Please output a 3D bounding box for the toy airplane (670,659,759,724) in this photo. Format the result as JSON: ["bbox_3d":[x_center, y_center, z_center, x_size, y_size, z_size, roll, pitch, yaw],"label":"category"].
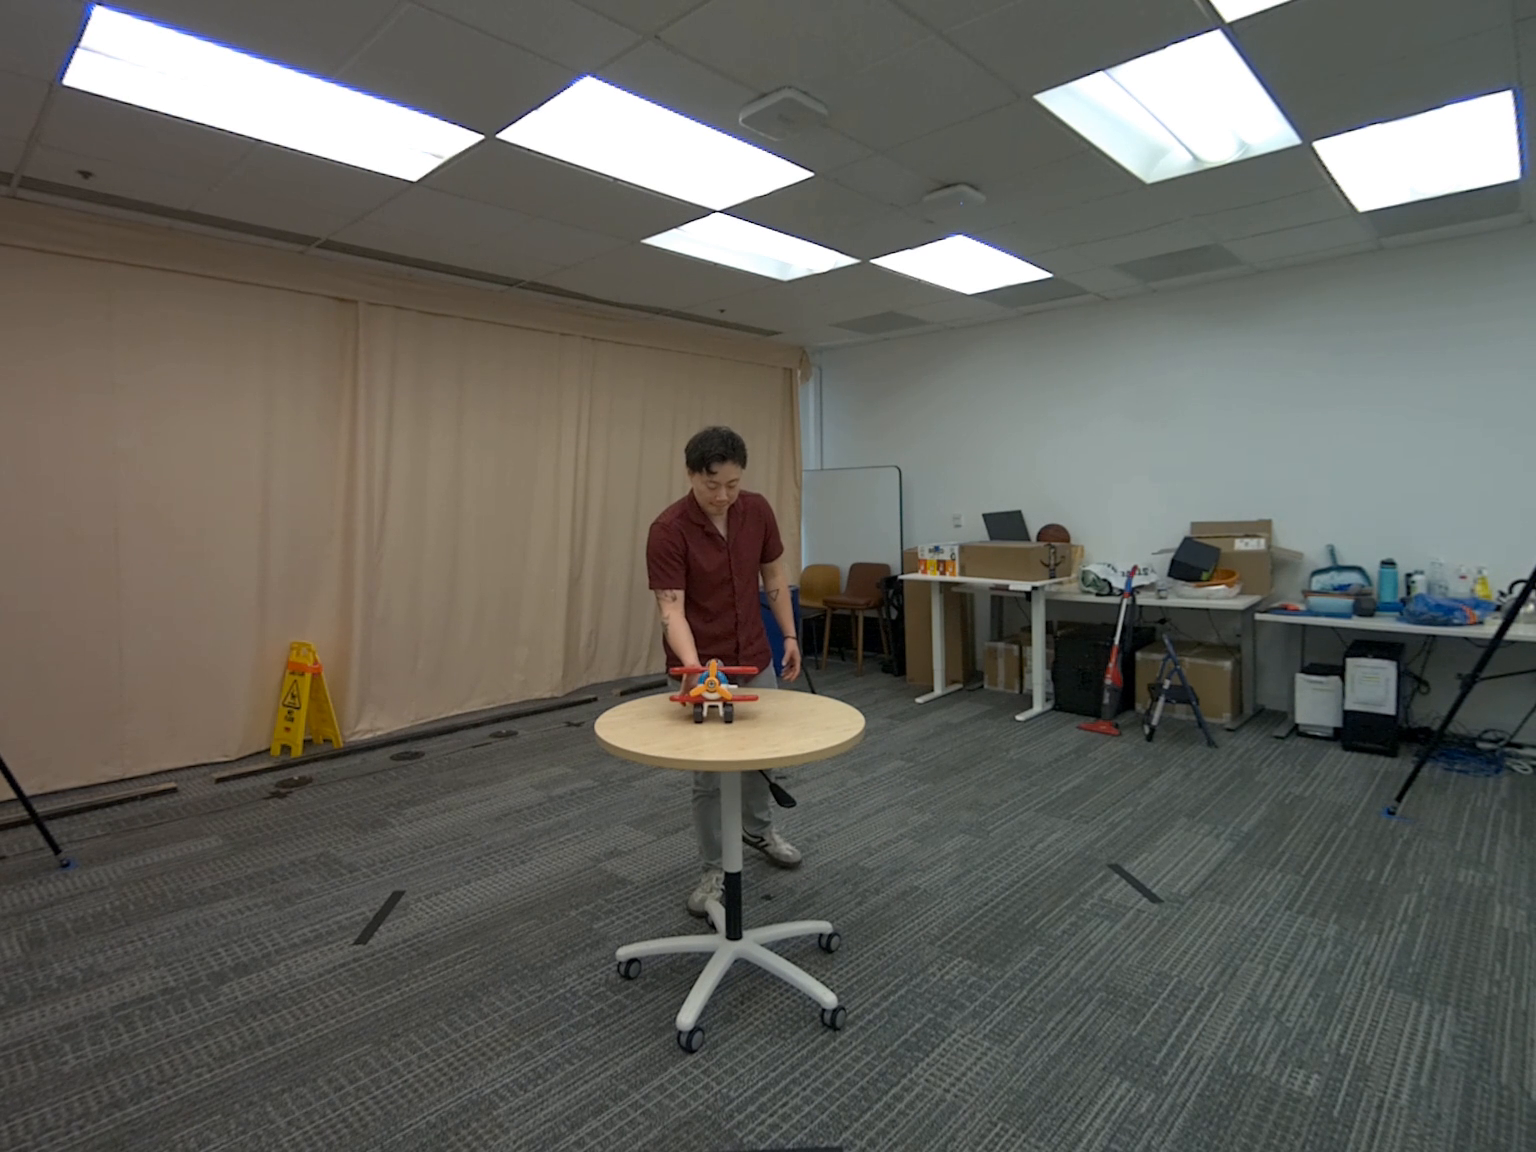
[{"bbox_3d":[-0.171,0.329,2.450,0.245,0.156,0.266,-2,4,-29],"label":"toy airplane"}]
